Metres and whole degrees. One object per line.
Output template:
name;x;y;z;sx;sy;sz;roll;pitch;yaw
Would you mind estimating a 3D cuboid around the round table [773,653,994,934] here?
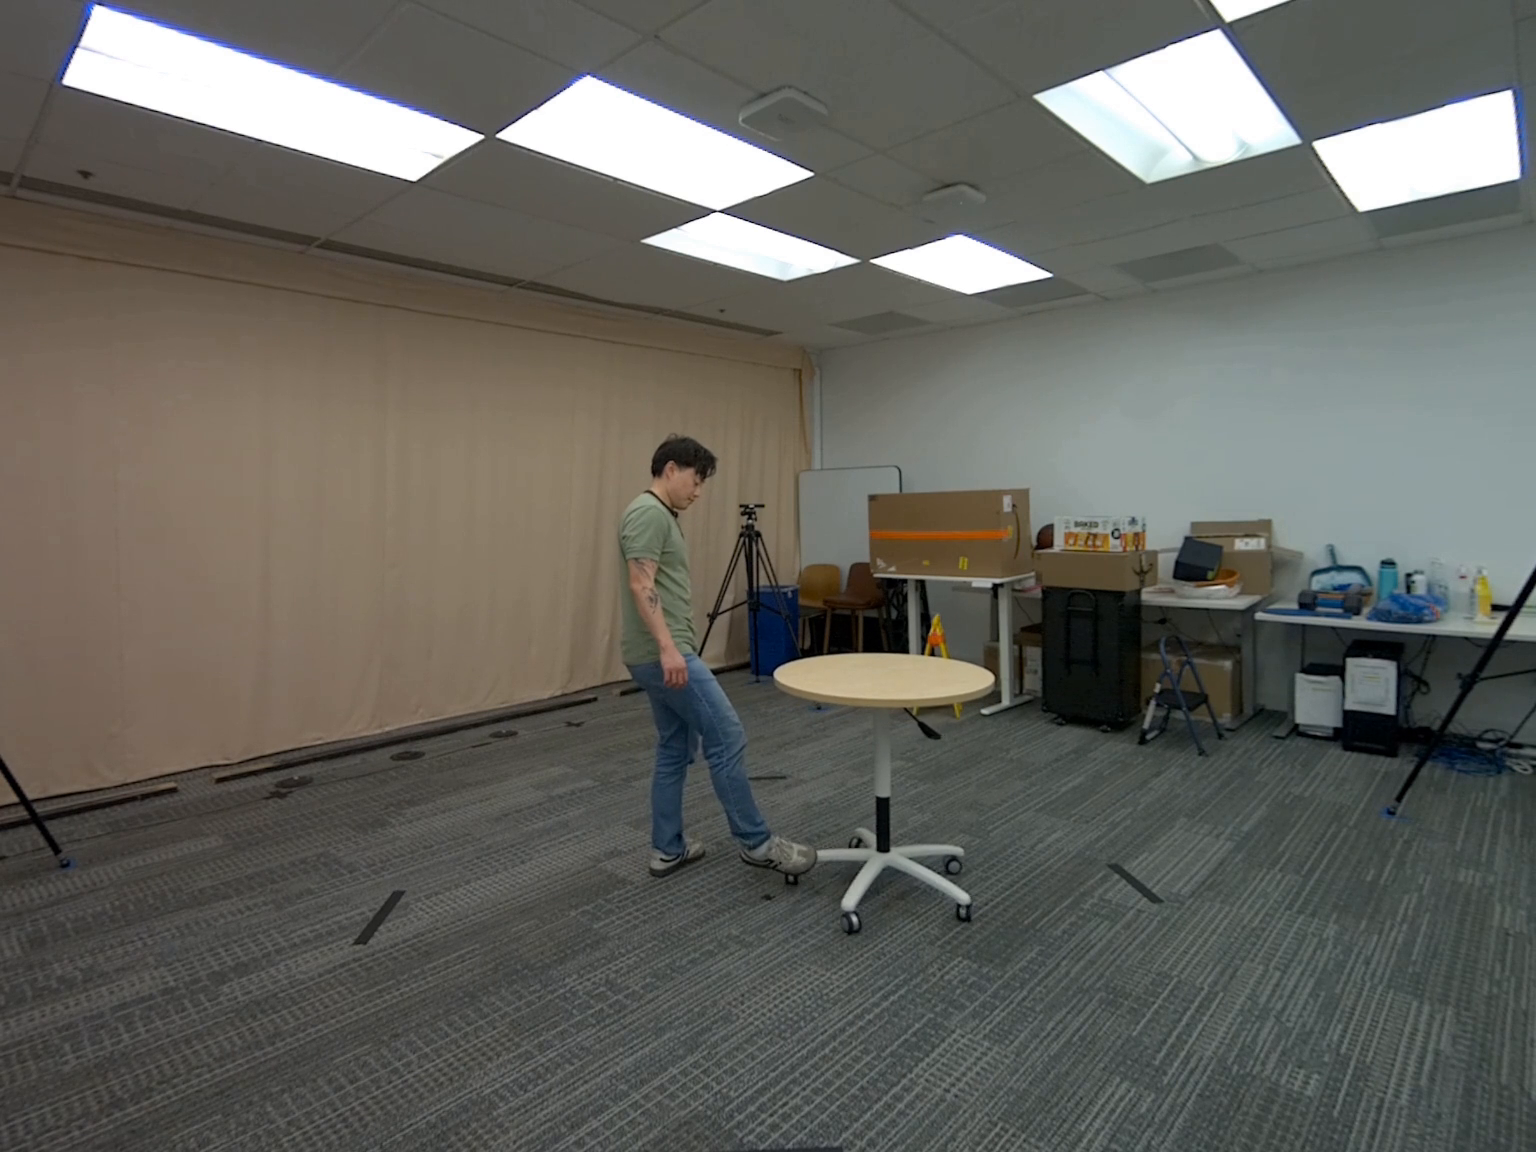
round table;0.416;0.741;3.010;0.763;0.792;0.767;-1;4;-2
